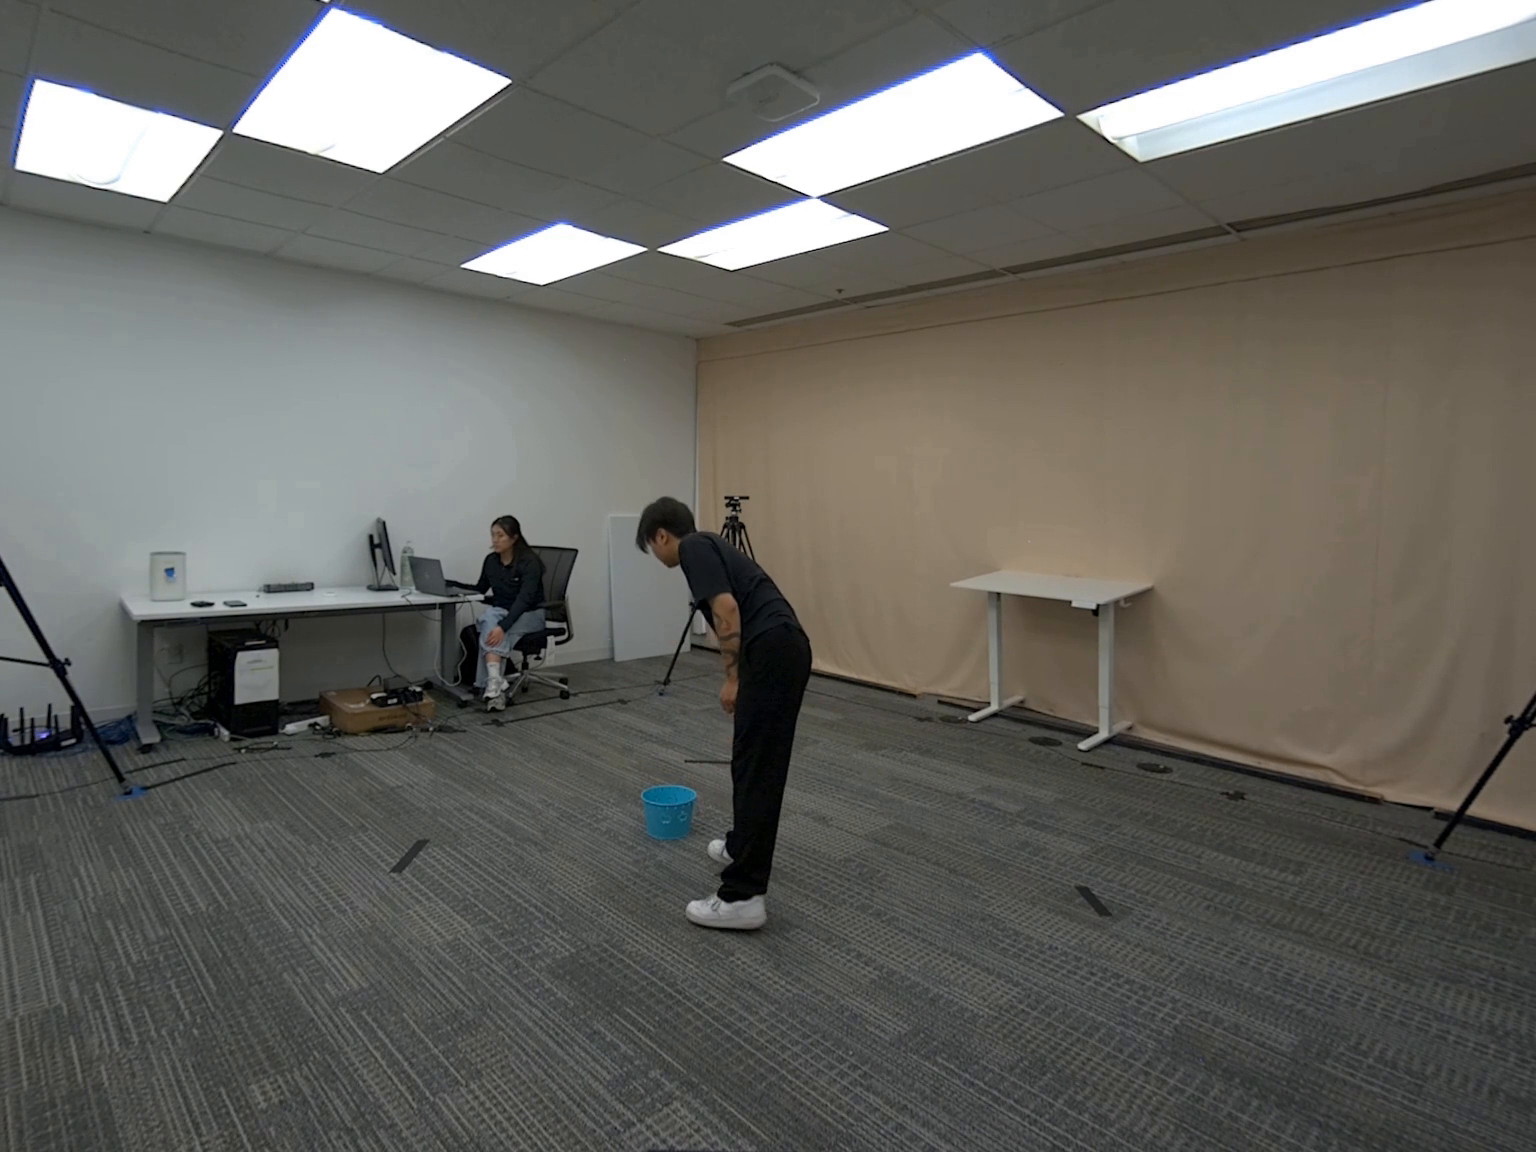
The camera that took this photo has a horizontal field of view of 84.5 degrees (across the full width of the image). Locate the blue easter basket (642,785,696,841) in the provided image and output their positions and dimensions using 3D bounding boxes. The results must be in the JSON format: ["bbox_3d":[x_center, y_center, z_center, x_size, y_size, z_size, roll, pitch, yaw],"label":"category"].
[{"bbox_3d":[-0.419,0.985,3.508,0.243,0.155,0.244,1,5,-1],"label":"blue easter basket"}]
